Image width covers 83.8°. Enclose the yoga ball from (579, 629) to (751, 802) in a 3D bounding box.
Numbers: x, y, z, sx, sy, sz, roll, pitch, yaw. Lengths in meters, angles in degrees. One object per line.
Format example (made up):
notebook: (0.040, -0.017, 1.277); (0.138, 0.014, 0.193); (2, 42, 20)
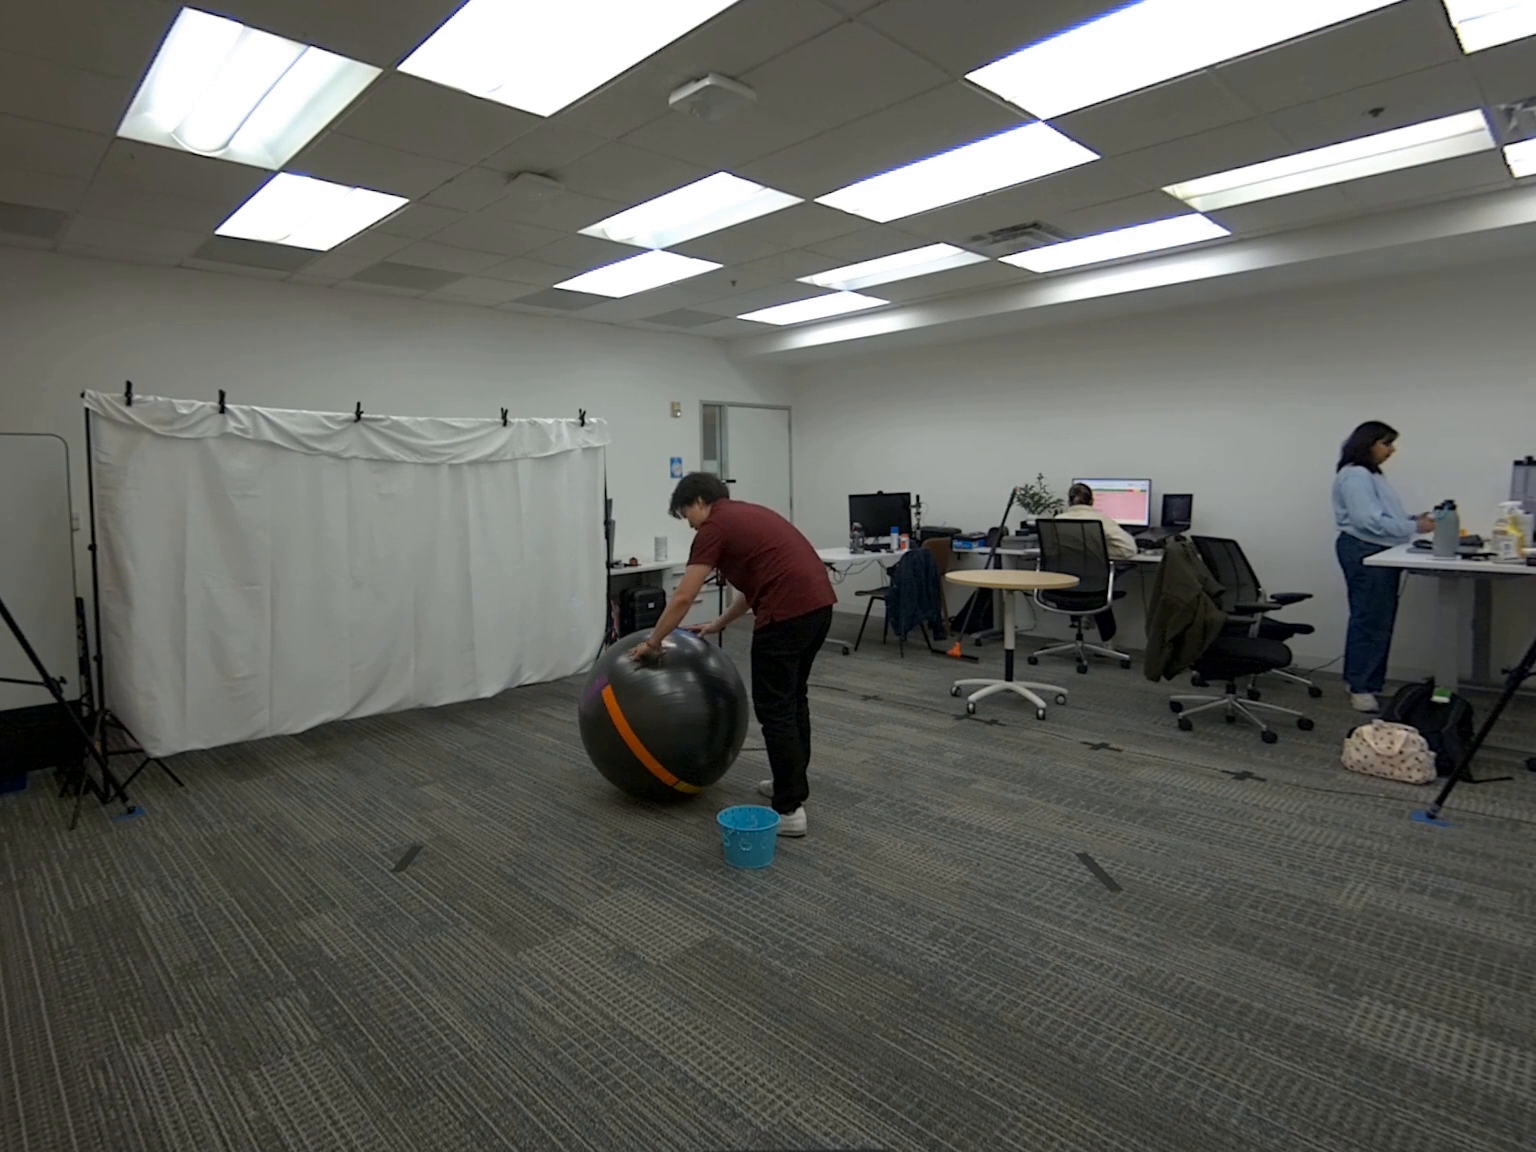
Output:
yoga ball: (-0.471, 0.614, 3.826); (0.757, 0.755, 0.762); (-1, 5, -2)
